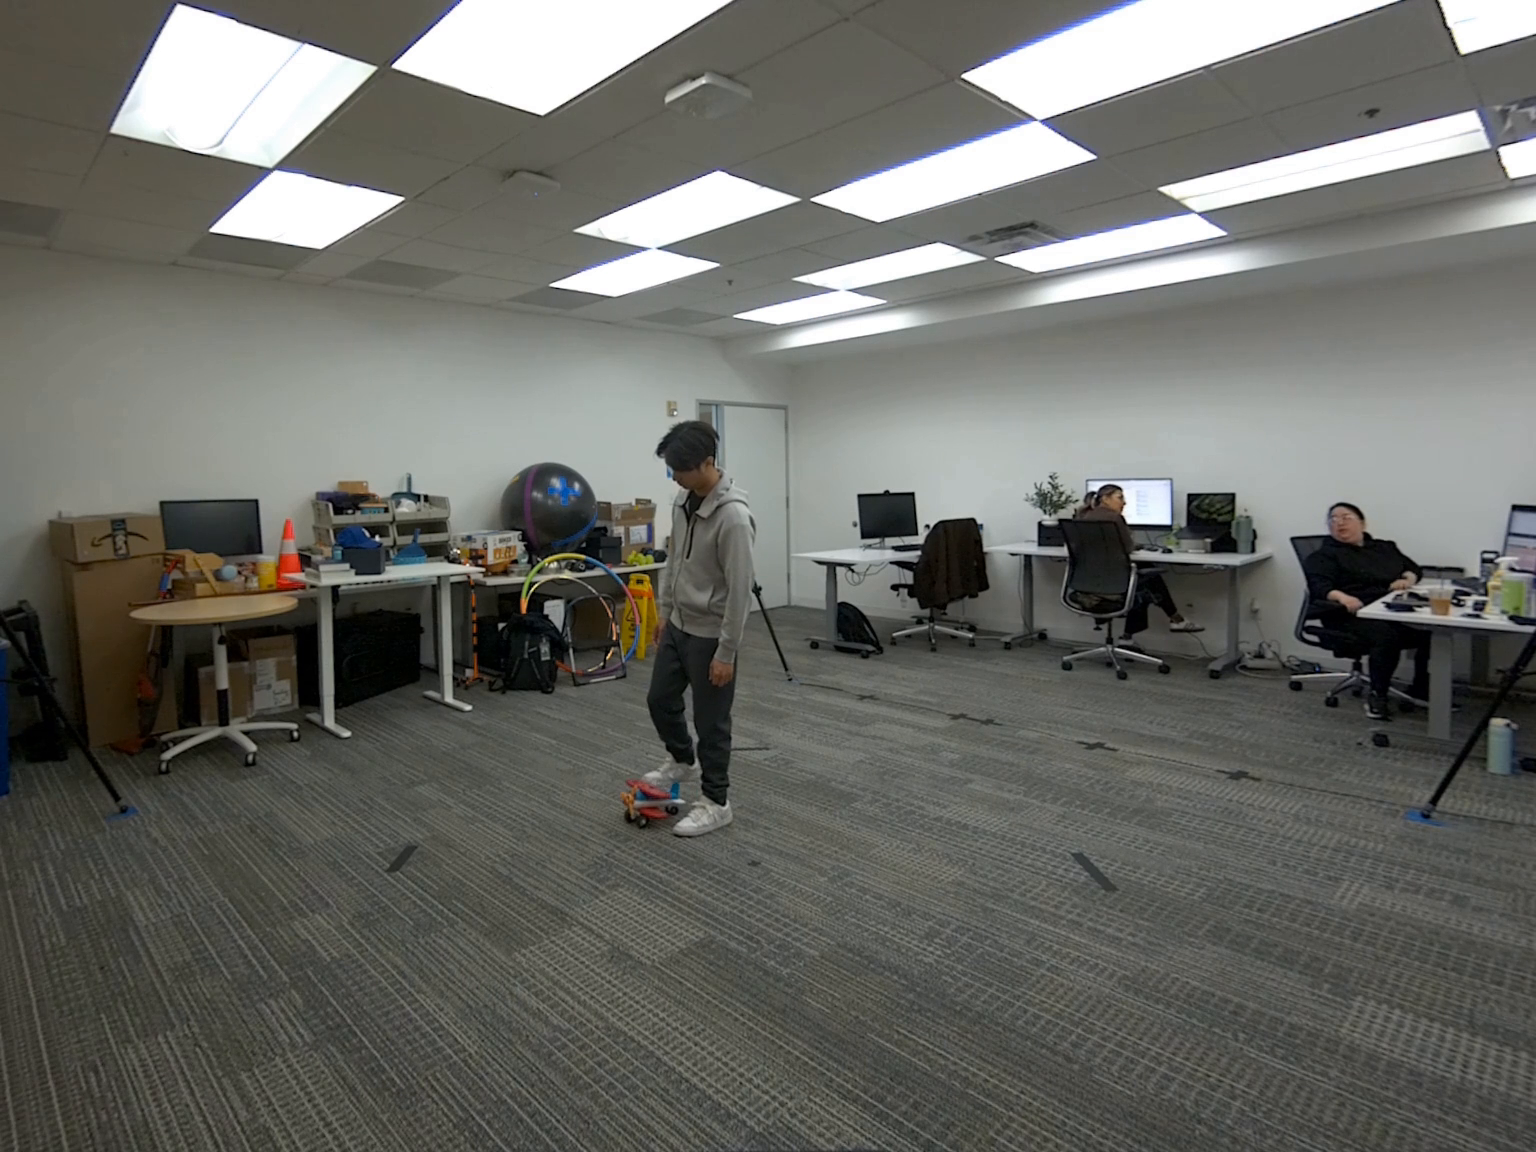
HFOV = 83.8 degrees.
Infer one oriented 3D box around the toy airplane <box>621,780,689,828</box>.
[{"bbox_3d":[-0.486,0.932,3.539,0.256,0.155,0.255,1,7,22],"label":"toy airplane"}]
